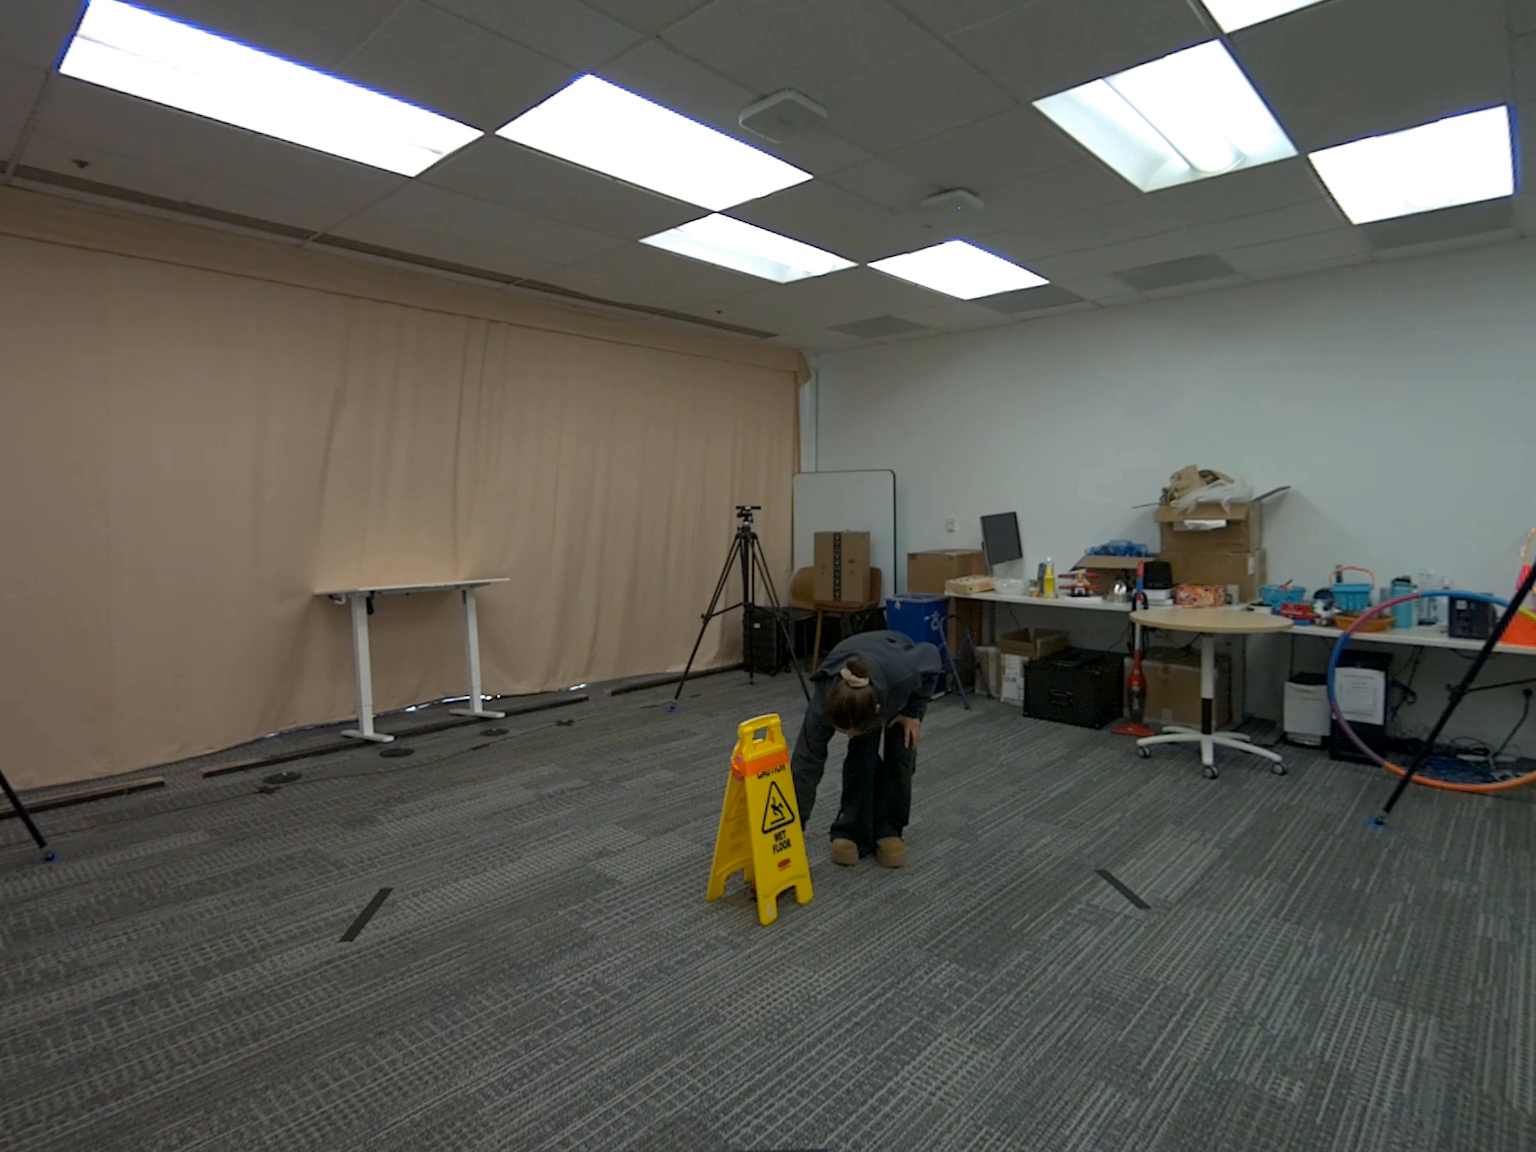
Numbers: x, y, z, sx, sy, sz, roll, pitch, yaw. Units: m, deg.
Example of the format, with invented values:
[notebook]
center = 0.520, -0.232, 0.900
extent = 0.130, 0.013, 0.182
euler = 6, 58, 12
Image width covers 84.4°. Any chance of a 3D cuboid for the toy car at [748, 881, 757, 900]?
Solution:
[toy car]
center = 0.064, 1.103, 3.058
extent = 0.135, 0.082, 0.248
euler = 4, 14, 43
